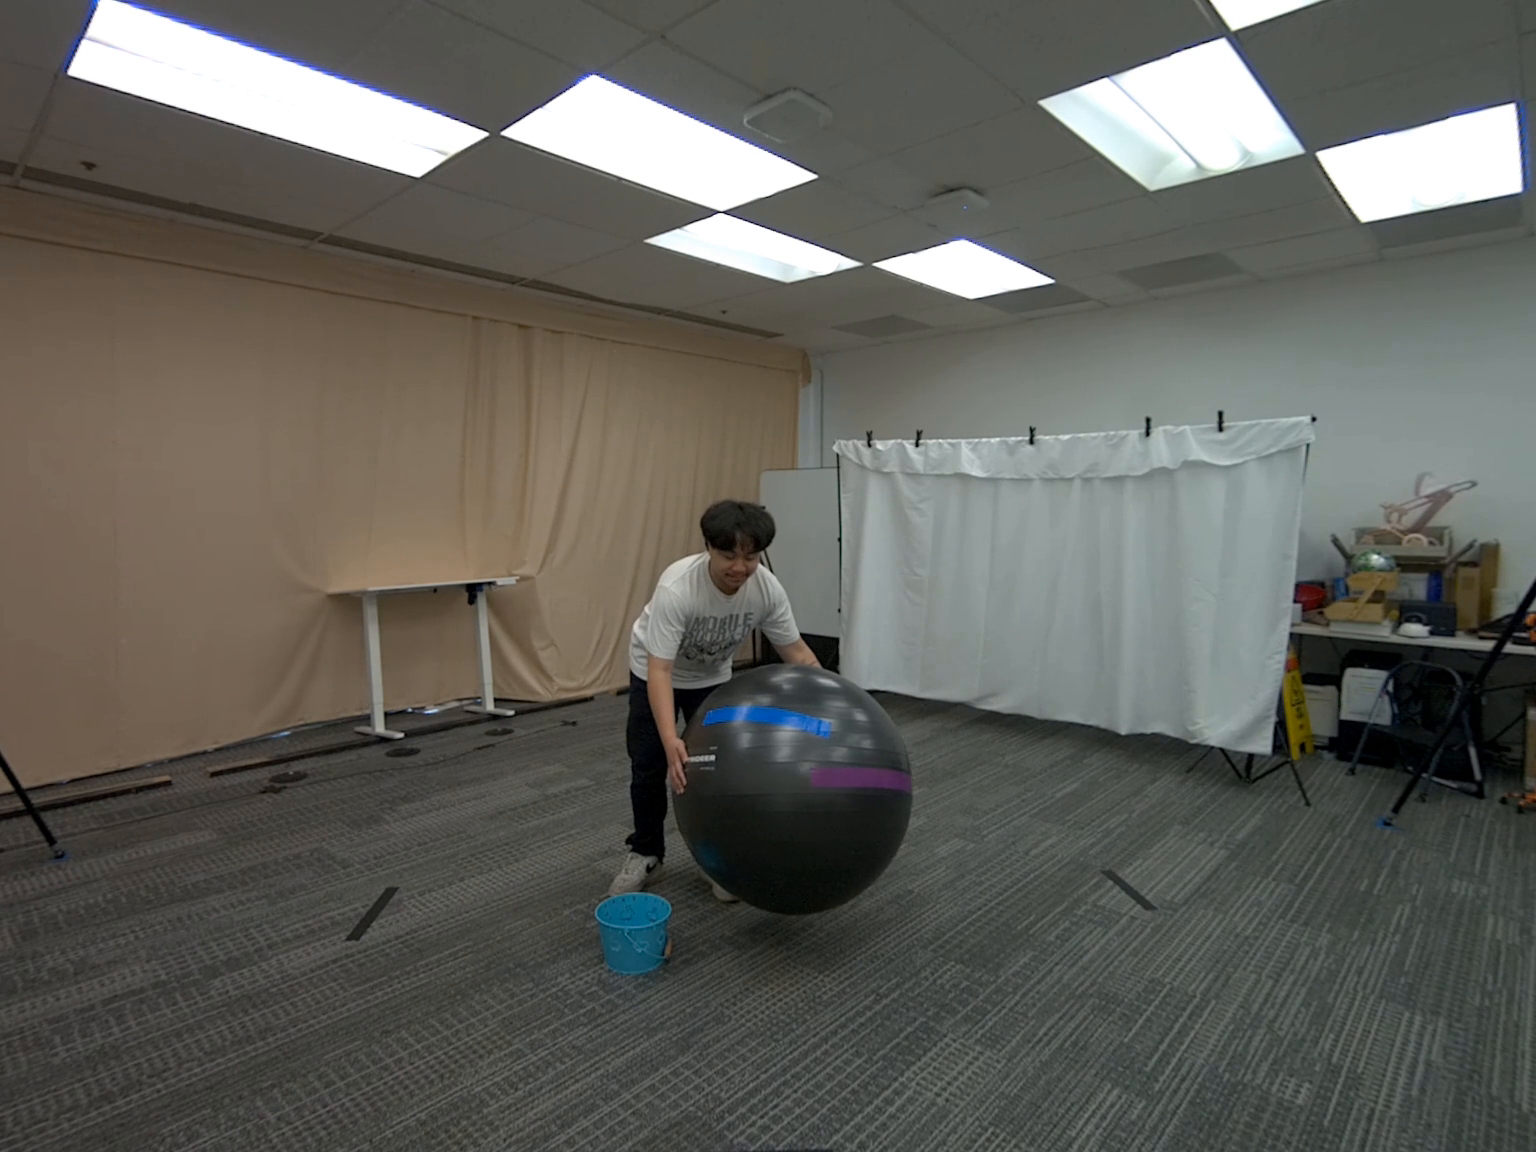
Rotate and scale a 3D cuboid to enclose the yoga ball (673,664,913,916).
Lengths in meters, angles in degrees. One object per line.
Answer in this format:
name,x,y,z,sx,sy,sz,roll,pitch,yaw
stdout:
yoga ball,0.073,0.667,2.685,0.757,0.756,0.760,0,4,-2
